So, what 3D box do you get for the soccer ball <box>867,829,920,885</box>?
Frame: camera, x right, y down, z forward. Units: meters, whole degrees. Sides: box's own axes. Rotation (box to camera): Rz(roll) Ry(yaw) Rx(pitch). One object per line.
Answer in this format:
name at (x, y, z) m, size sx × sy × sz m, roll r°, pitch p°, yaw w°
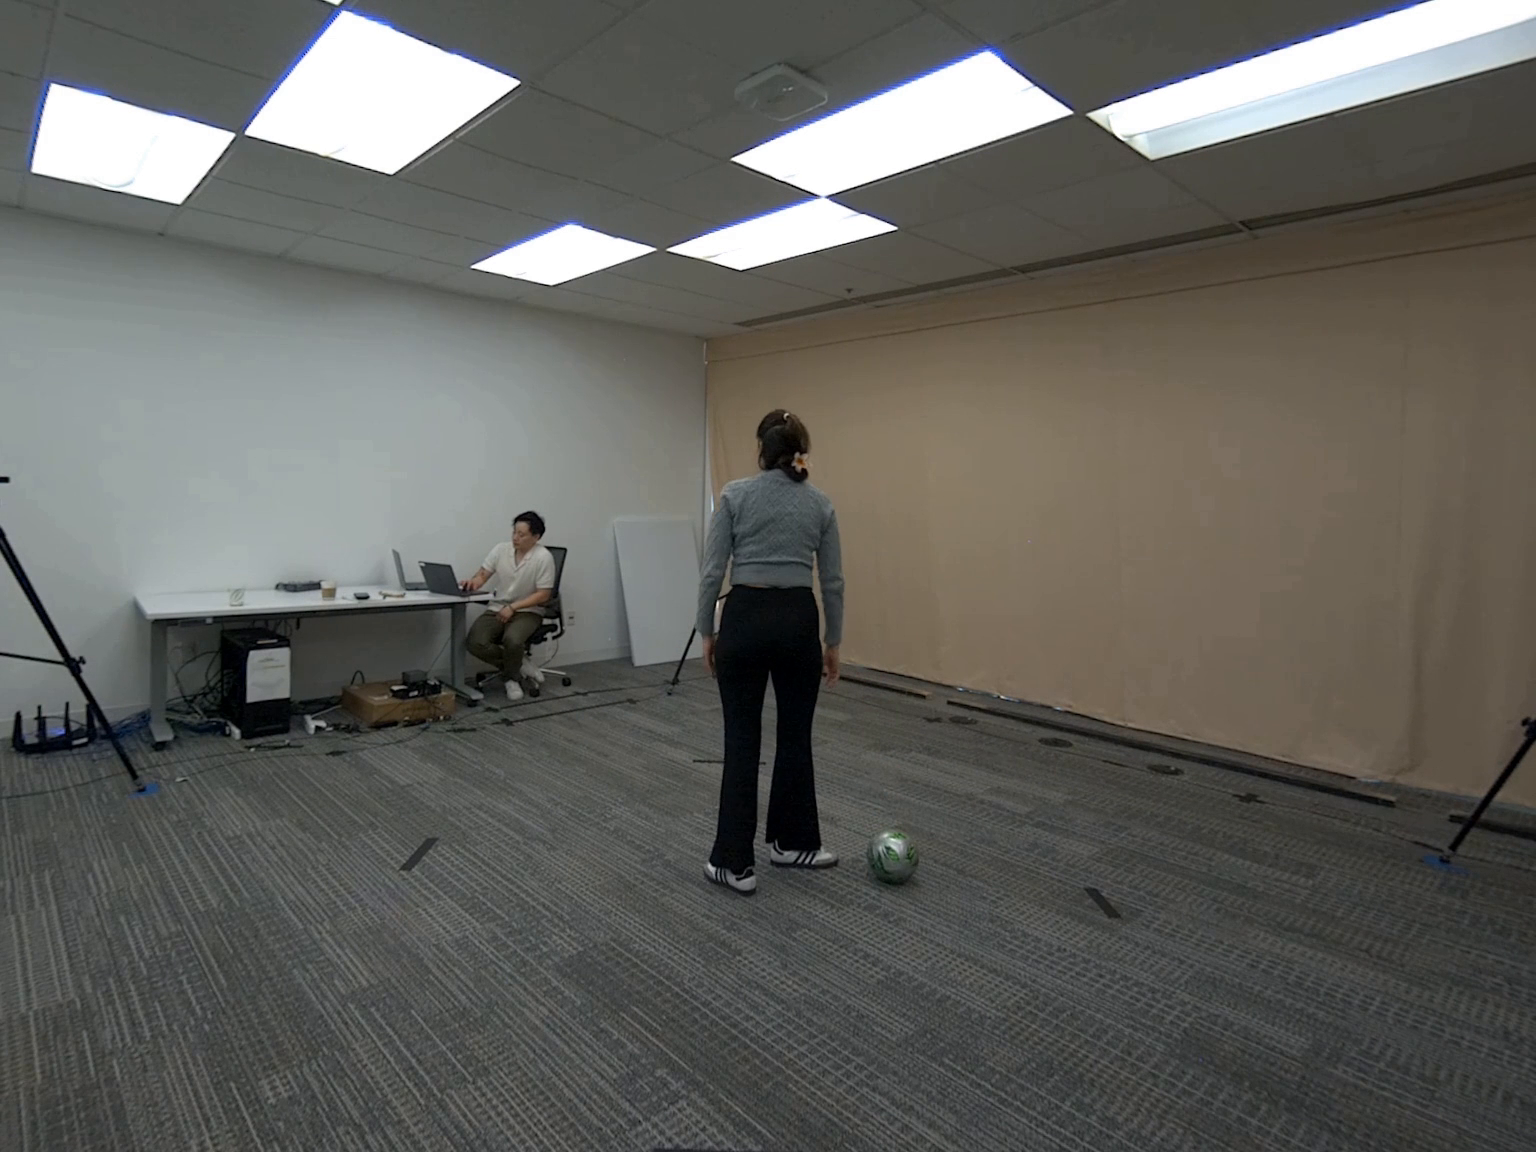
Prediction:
soccer ball at (0.443, 1.024, 3.084) m, size 0.187 × 0.187 × 0.188 m, roll 1°, pitch 4°, yaw -1°
